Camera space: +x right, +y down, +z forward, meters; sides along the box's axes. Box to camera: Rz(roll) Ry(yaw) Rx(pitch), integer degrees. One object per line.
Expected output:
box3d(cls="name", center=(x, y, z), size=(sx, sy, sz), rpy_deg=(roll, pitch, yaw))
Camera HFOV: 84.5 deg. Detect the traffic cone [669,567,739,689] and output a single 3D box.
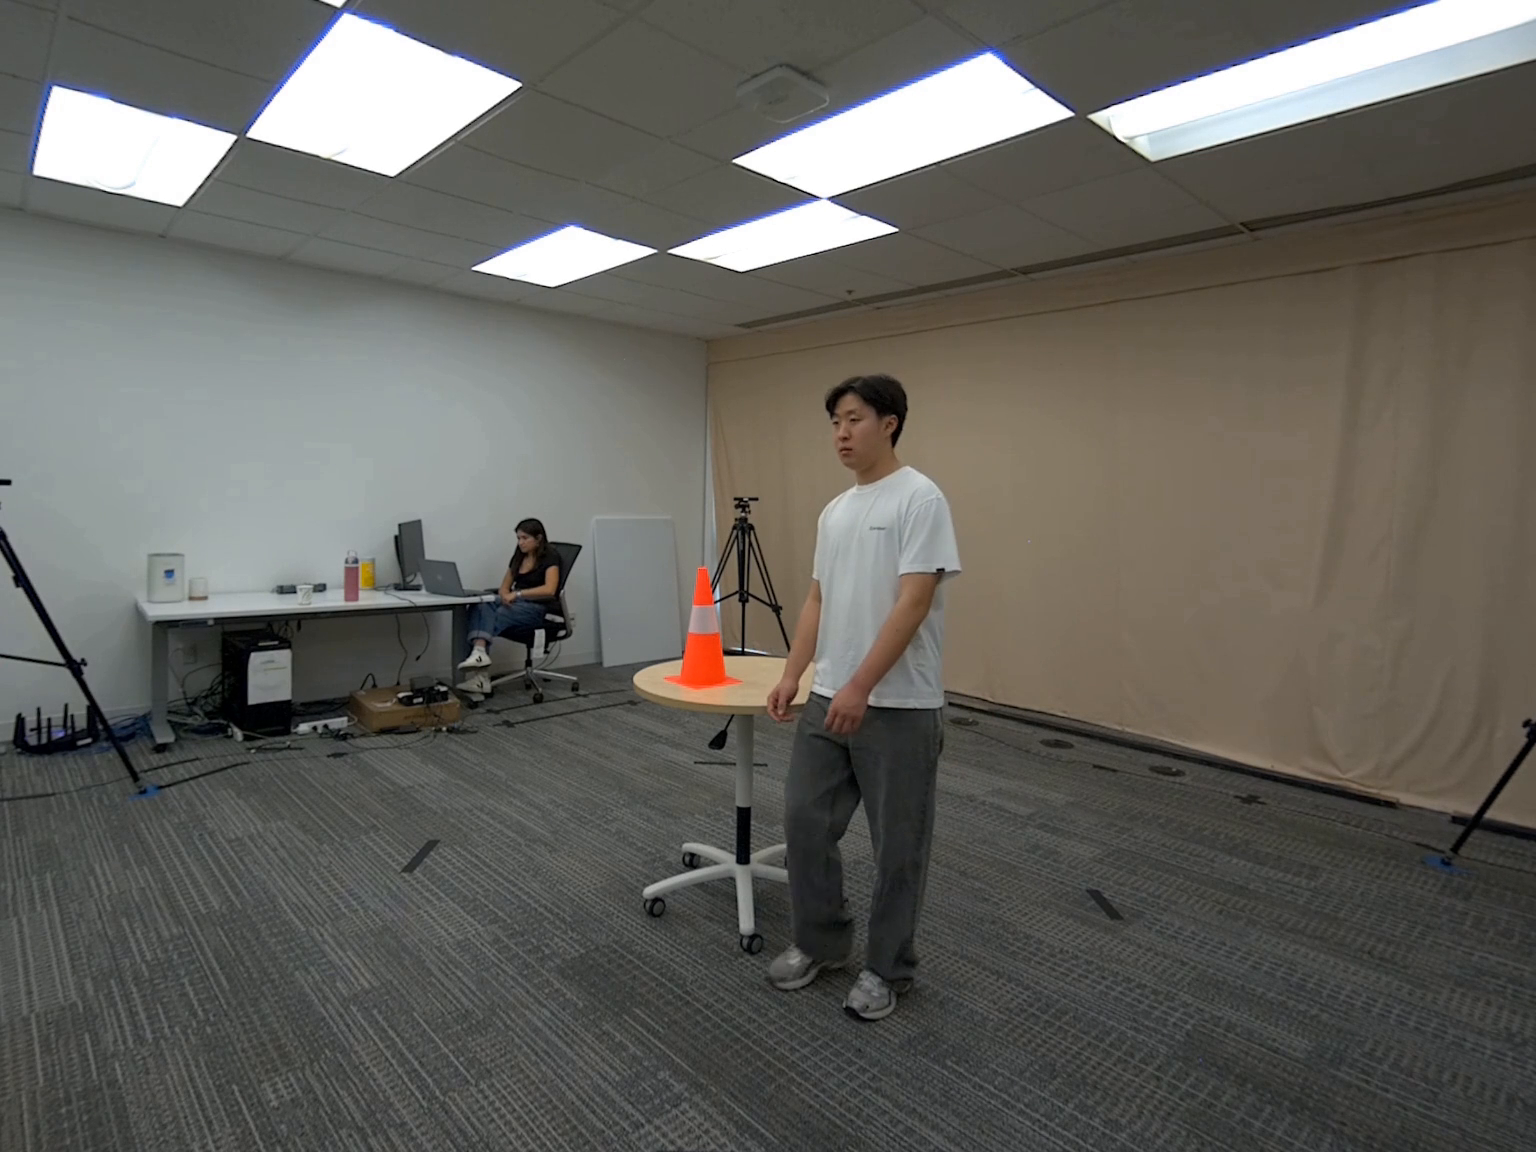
box3d(cls="traffic cone", center=(-0.219, 0.169, 2.796), size=(0.208, 0.382, 0.200), rpy_deg=(4, 5, 42))
